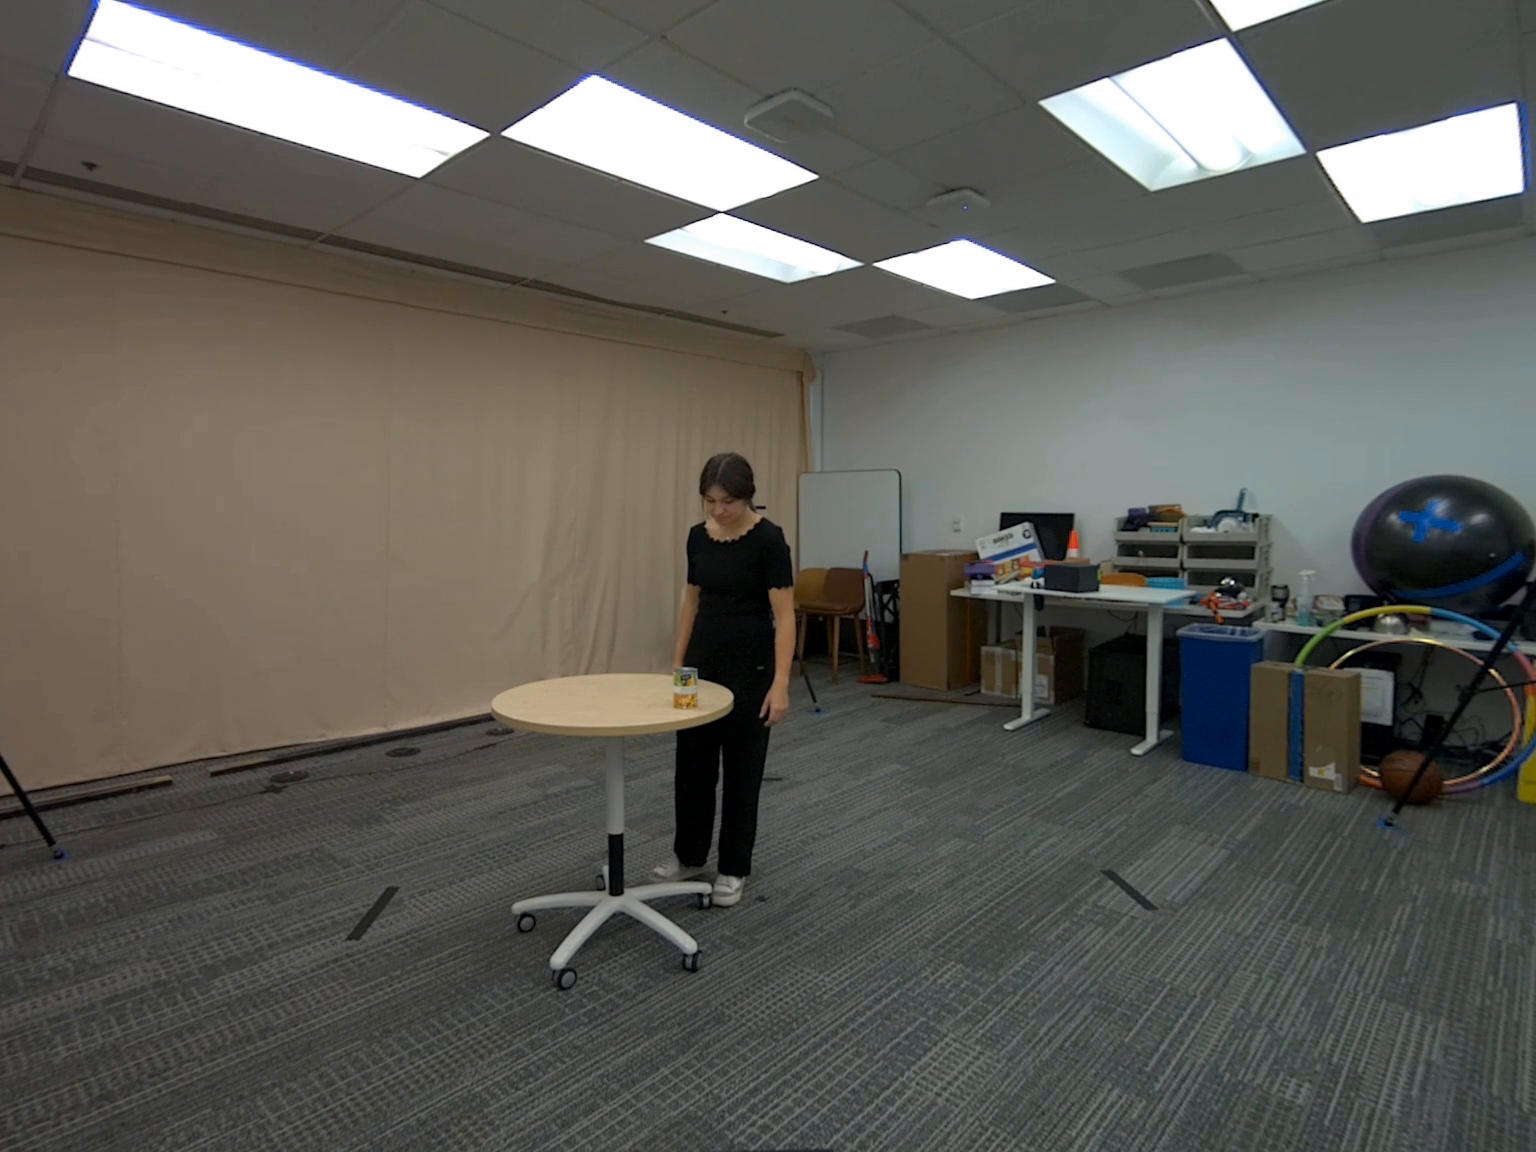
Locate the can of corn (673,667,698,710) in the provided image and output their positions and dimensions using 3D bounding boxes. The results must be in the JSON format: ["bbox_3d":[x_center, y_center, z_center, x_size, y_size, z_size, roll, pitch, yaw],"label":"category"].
[{"bbox_3d":[-0.250,0.339,2.559,0.074,0.111,0.074,2,2,-2],"label":"can of corn"}]
